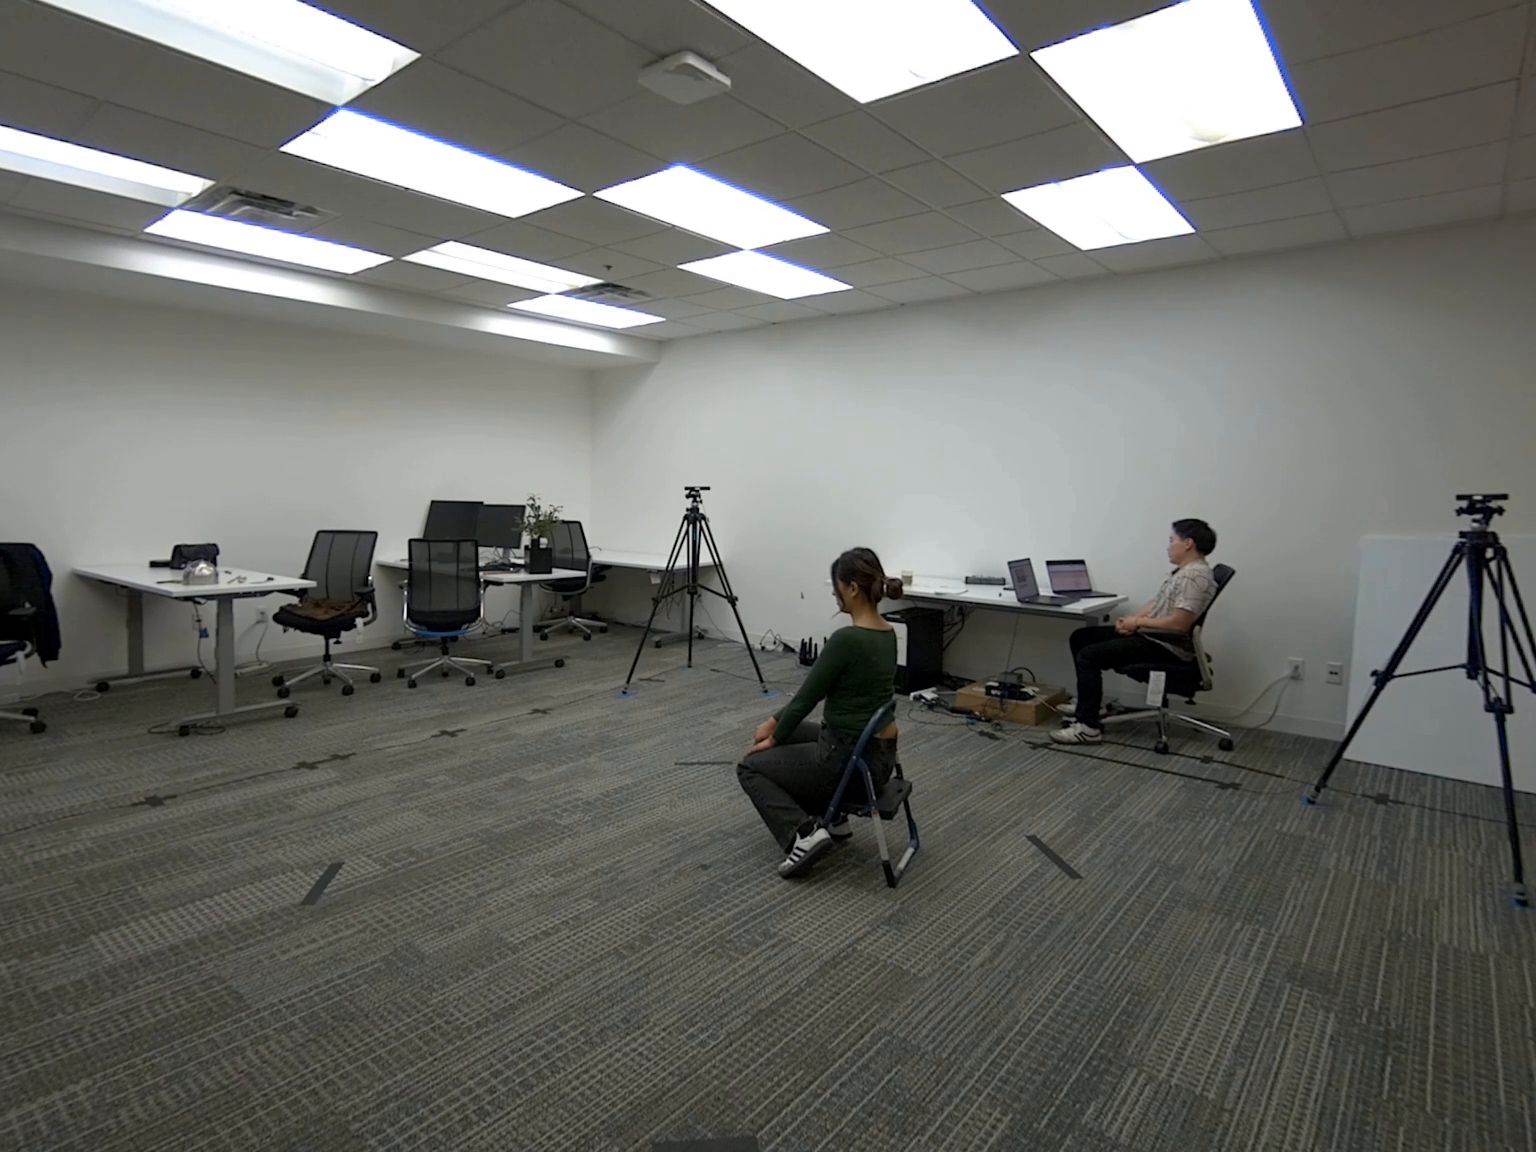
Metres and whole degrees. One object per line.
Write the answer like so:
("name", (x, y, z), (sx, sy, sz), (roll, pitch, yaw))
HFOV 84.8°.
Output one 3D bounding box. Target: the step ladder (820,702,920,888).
("step ladder", (0.366, 0.770, 3.212), (0.358, 0.604, 0.422), (3, 4, 23))
